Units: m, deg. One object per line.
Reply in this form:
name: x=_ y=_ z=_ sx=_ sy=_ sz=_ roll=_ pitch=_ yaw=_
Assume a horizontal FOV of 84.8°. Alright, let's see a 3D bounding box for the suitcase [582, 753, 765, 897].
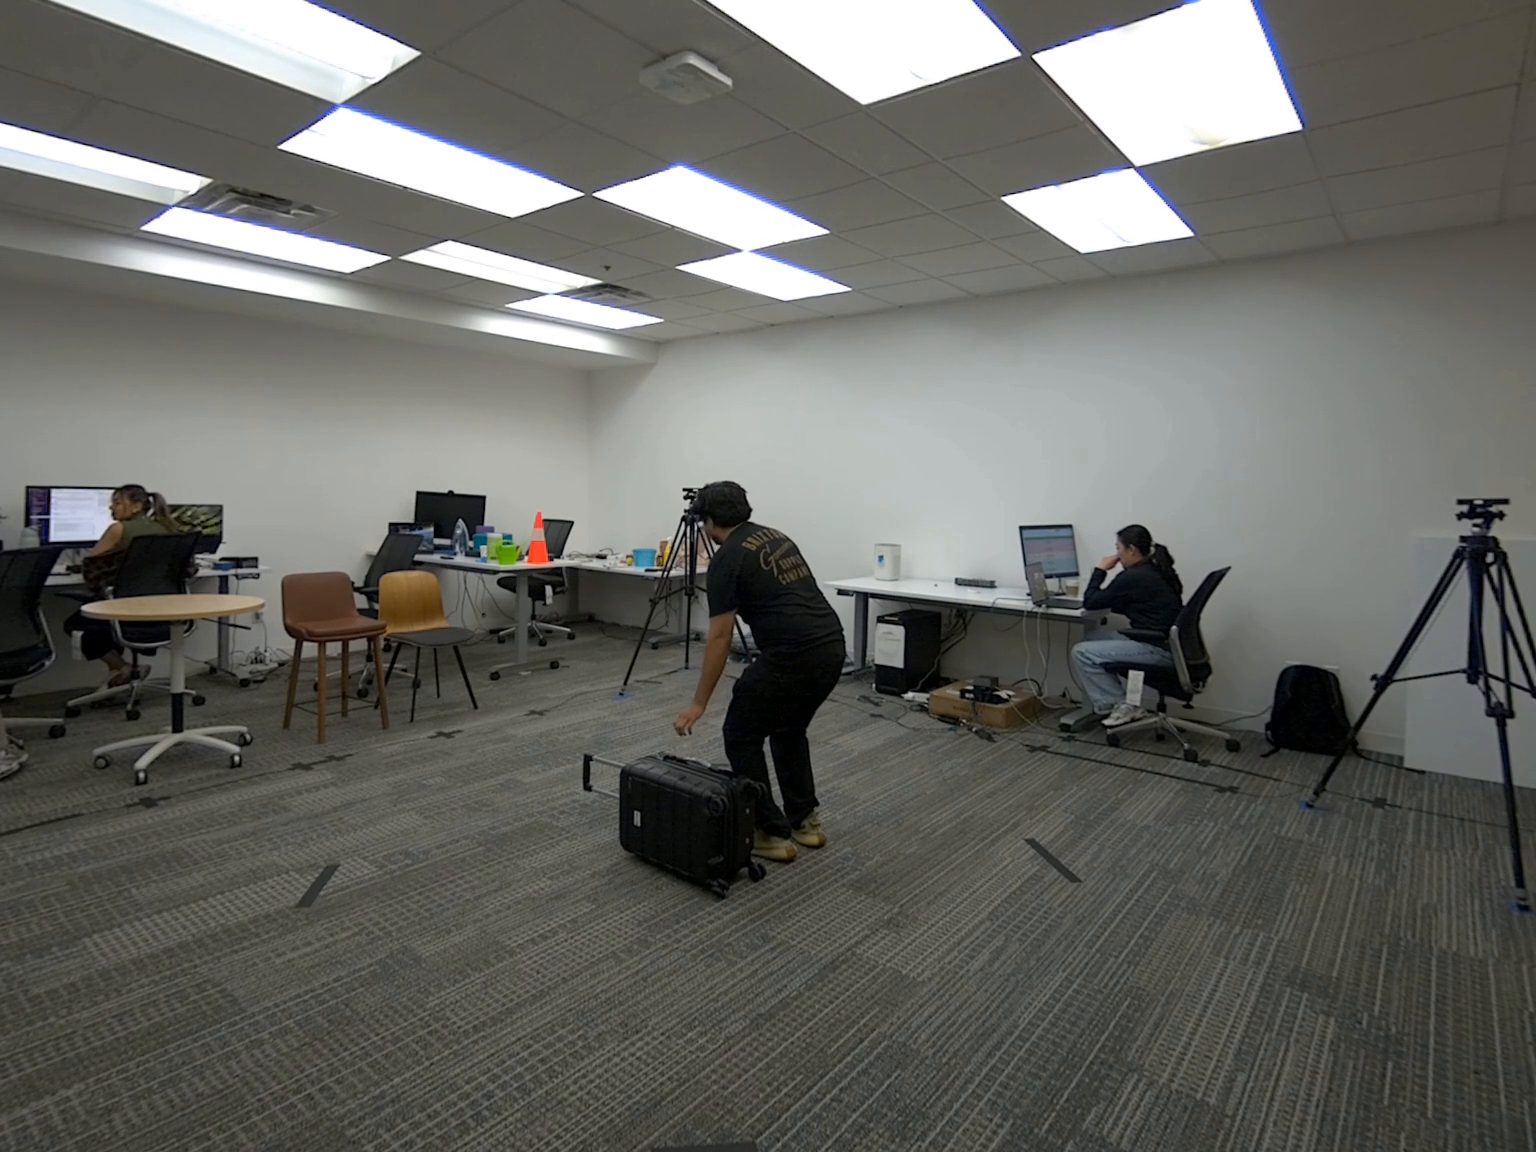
suitcase: x=-0.478 y=0.865 z=3.247 sx=1.011 sy=0.383 sz=0.249 roll=5 pitch=5 yaw=39
